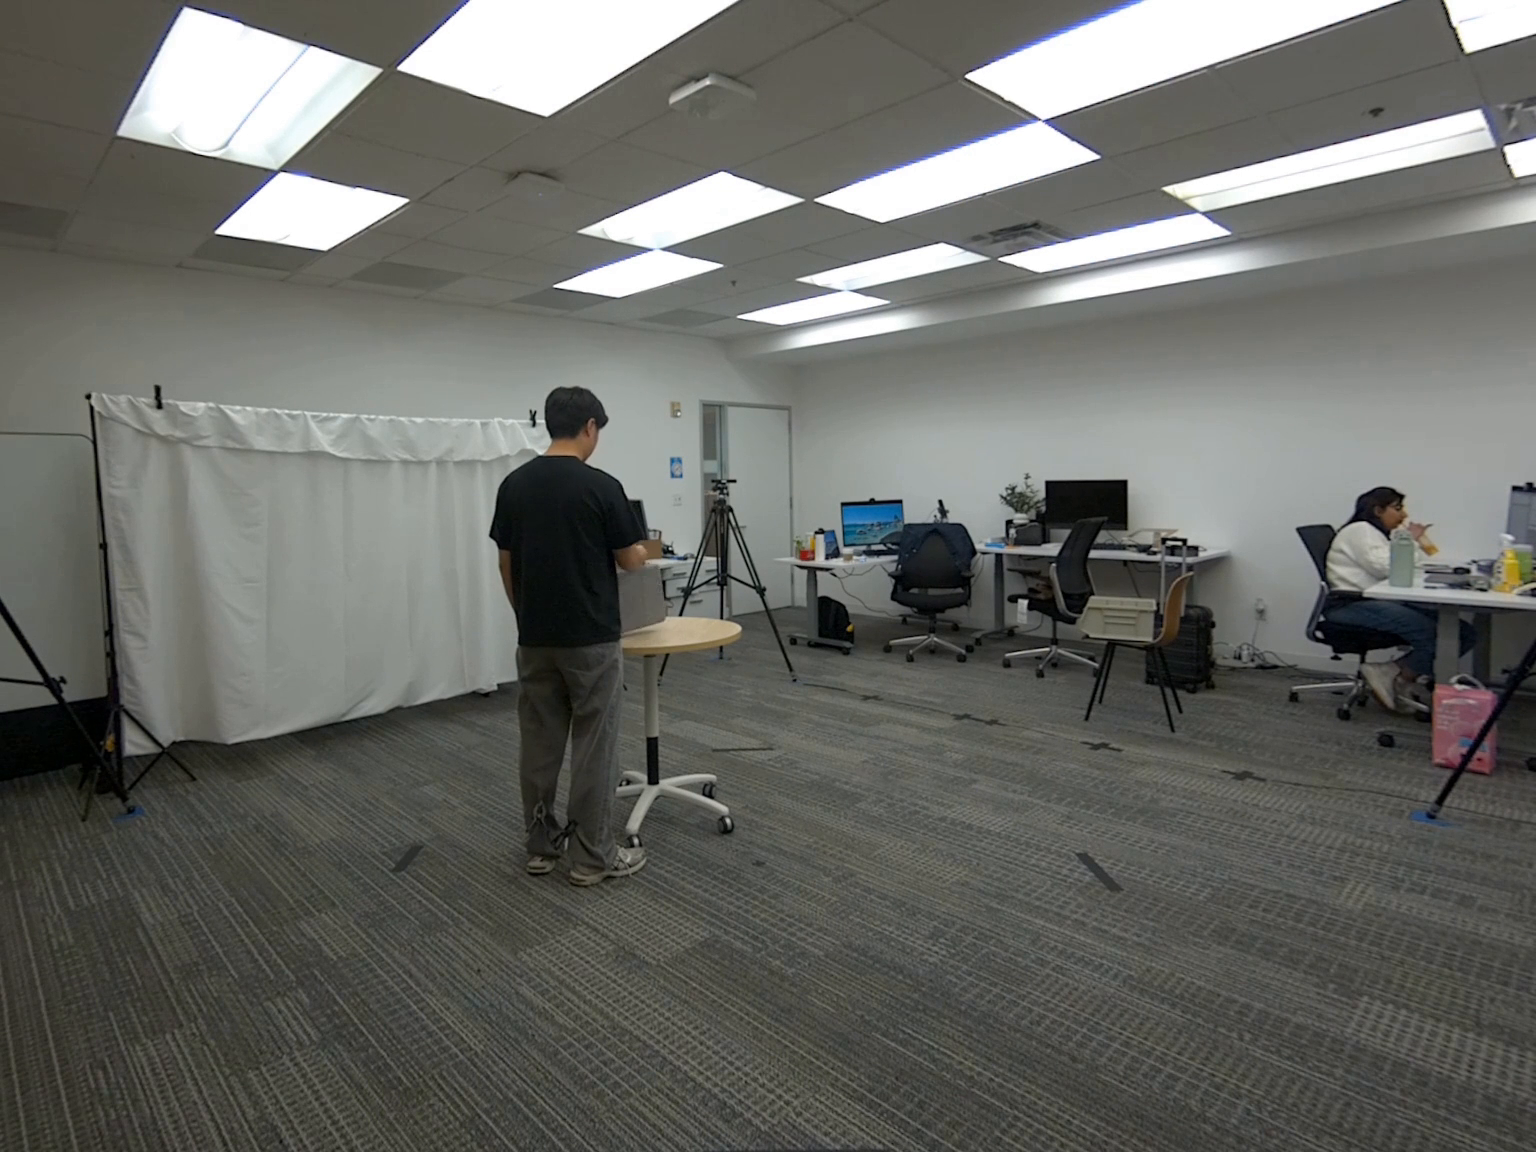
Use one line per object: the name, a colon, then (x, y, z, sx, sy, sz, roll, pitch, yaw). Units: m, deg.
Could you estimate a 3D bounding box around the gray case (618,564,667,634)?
gray case: (-0.535, 0.073, 3.441, 0.257, 0.285, 0.106, -13, 11, -41)
